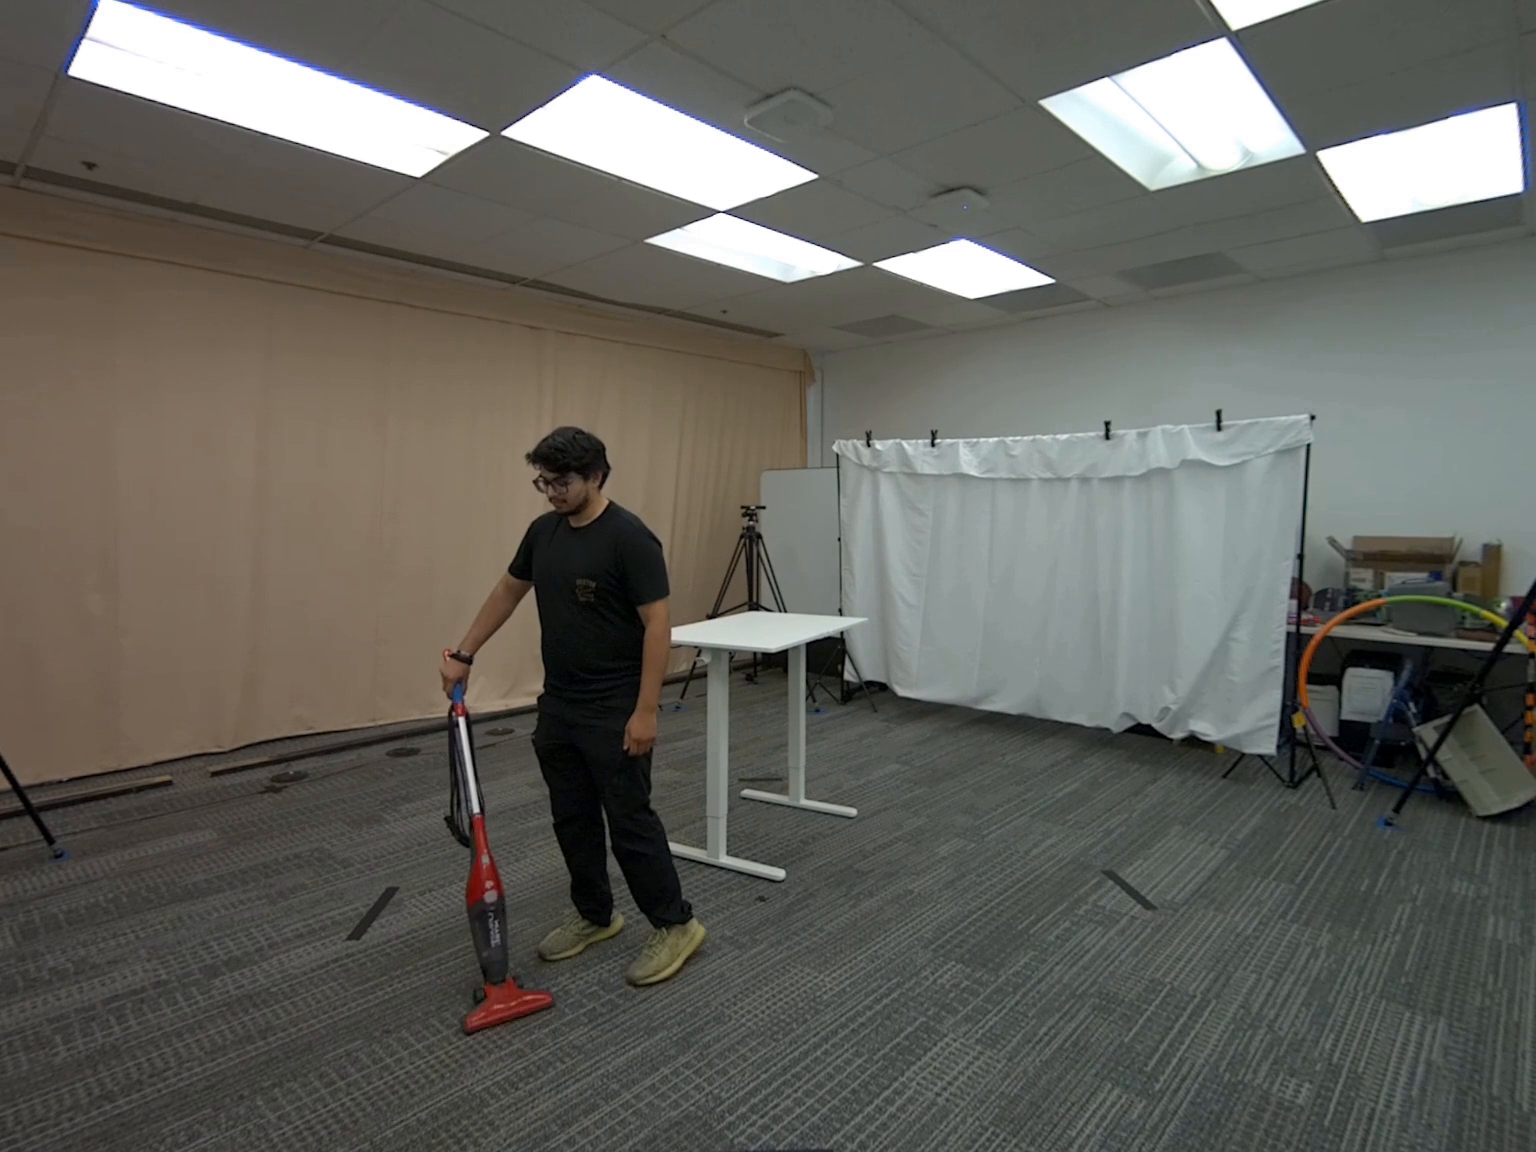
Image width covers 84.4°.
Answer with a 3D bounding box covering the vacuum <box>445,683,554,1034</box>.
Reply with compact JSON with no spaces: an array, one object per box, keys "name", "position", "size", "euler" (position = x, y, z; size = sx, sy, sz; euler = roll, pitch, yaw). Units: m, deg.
[{"name":"vacuum","position":[-0.896,0.729,2.522],"size":[0.245,1.070,0.145],"euler":[-3,-26,-34]}]
